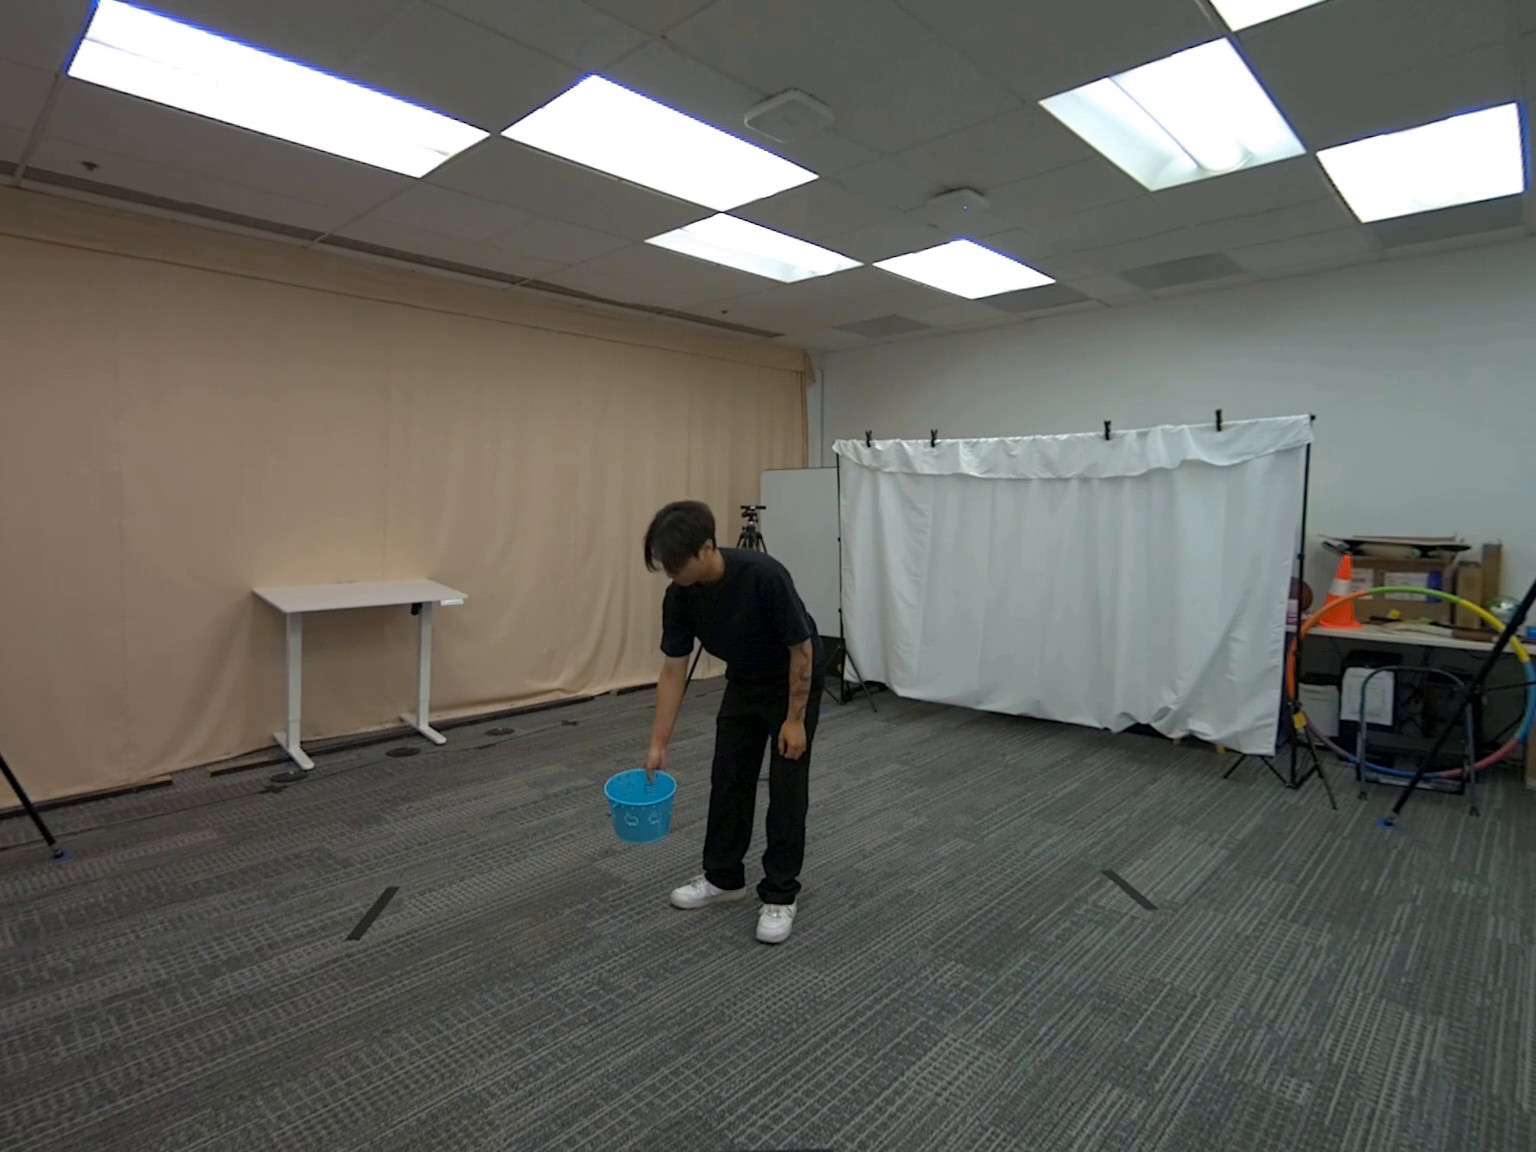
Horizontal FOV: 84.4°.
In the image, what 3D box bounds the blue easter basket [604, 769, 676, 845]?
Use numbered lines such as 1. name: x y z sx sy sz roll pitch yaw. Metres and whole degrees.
1. blue easter basket: -0.412 0.755 2.734 0.243 0.154 0.246 -1 13 -2
